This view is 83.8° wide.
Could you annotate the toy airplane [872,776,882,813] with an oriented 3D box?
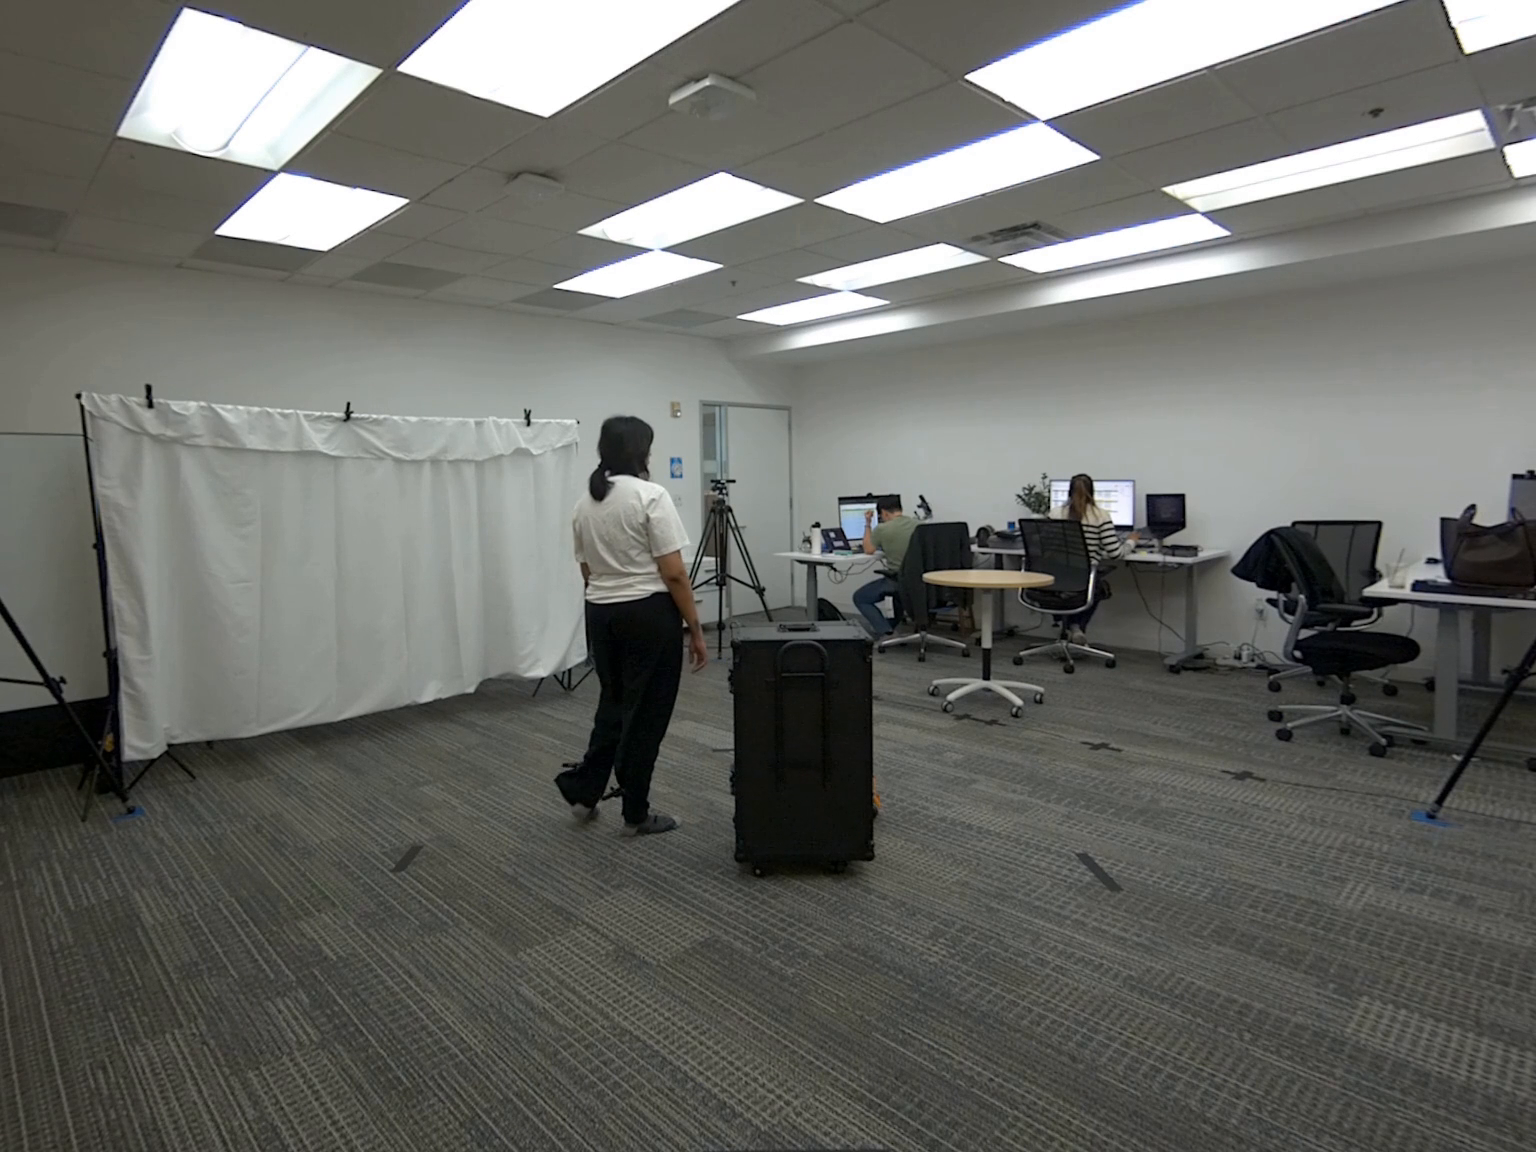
[{"bbox_3d":[0.321,0.917,3.509,0.263,0.156,0.249,2,5,12],"label":"toy airplane"}]
